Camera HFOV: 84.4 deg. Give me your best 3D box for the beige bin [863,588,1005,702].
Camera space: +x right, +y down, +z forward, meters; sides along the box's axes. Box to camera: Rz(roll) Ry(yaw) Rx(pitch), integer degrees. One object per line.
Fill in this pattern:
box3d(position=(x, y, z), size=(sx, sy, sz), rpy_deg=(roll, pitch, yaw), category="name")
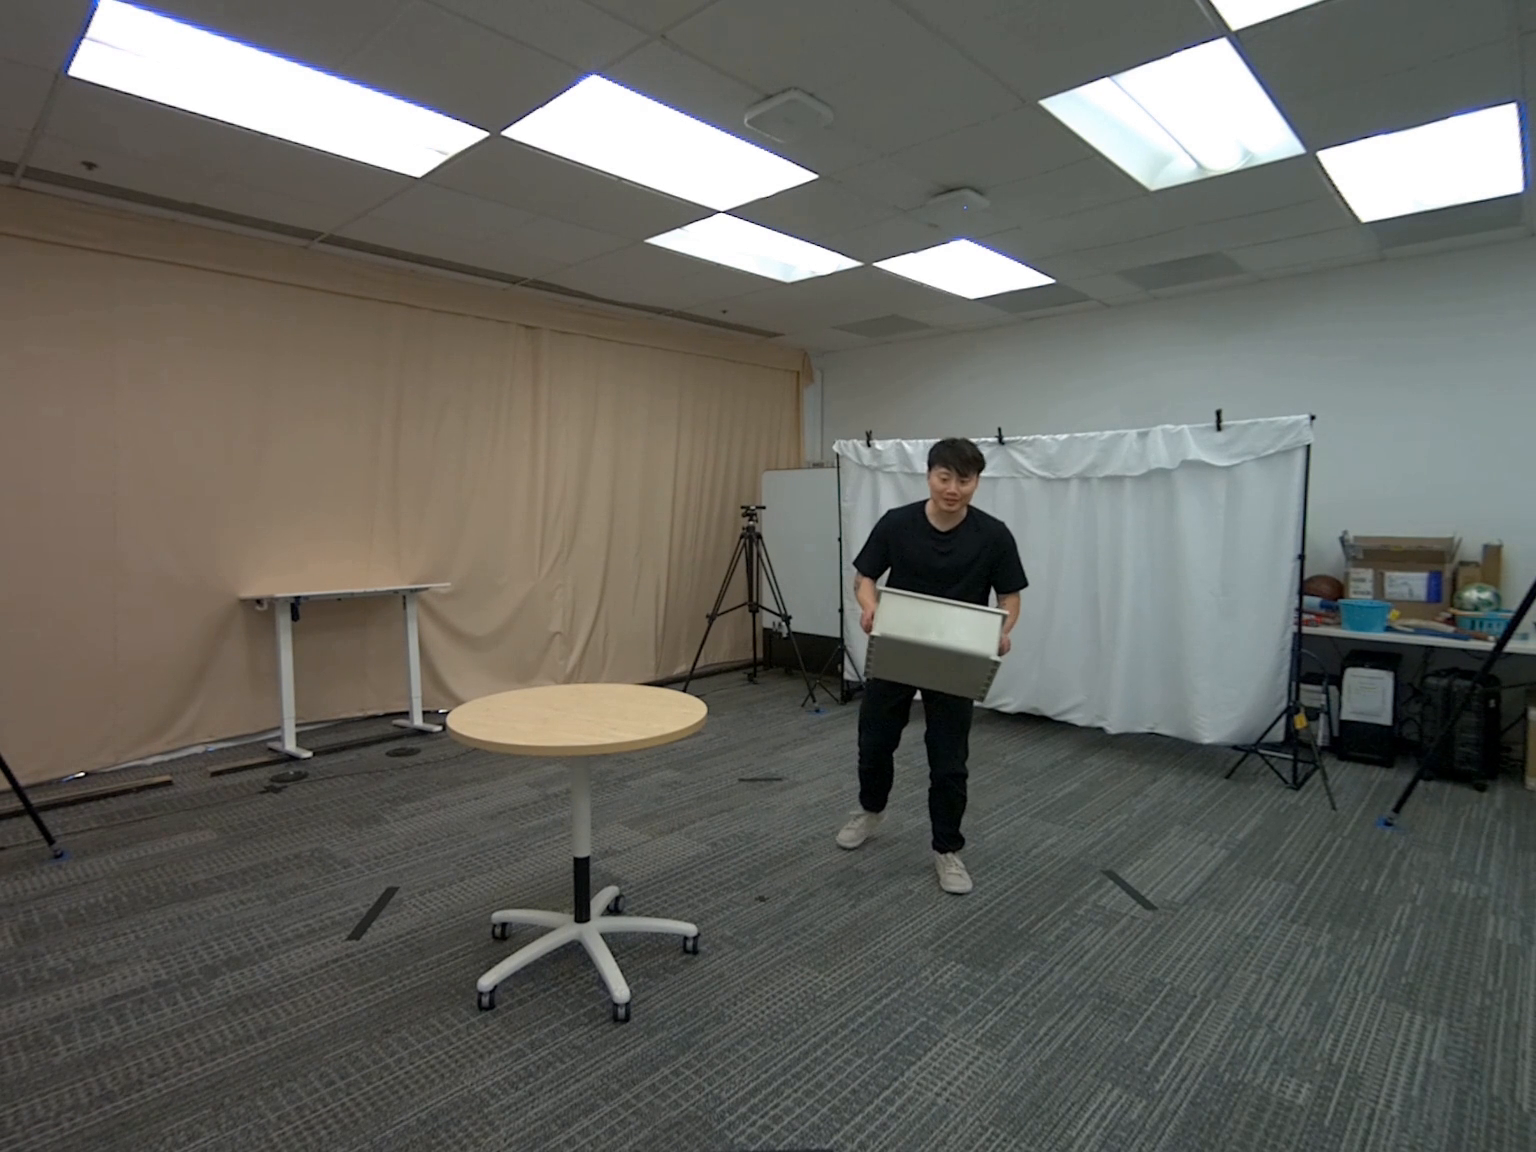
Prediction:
box3d(position=(0.556, 0.249, 2.859), size=(0.429, 0.190, 0.369), rpy_deg=(12, -31, 13), category="beige bin")
